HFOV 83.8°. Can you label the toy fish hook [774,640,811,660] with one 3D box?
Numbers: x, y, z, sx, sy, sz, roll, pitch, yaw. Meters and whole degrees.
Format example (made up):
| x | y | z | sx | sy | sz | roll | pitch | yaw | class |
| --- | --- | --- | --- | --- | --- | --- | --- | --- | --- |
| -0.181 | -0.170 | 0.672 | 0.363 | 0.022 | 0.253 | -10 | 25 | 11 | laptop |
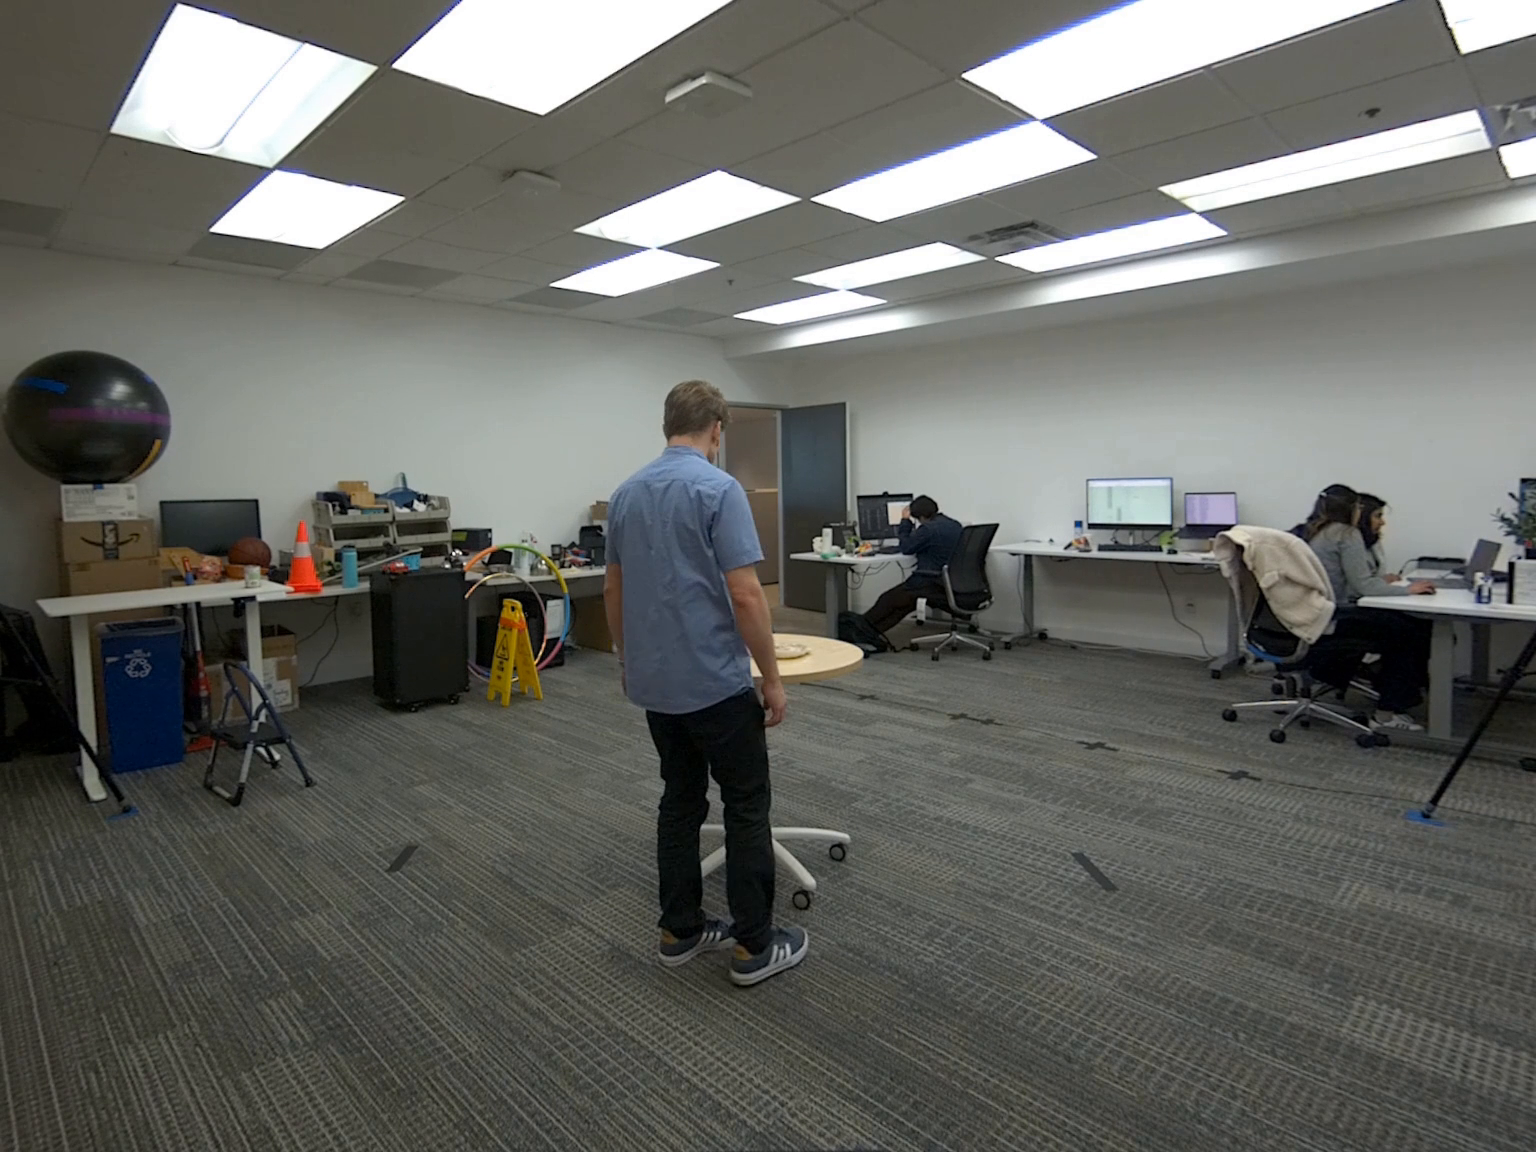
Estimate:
| x | y | z | sx | sy | sz | roll | pitch | yaw | class |
| --- | --- | --- | --- | --- | --- | --- | --- | --- | --- |
| -0.085 | 0.253 | 3.066 | 0.521 | 0.048 | 0.218 | 4 | 0 | 32 | toy fish hook |
